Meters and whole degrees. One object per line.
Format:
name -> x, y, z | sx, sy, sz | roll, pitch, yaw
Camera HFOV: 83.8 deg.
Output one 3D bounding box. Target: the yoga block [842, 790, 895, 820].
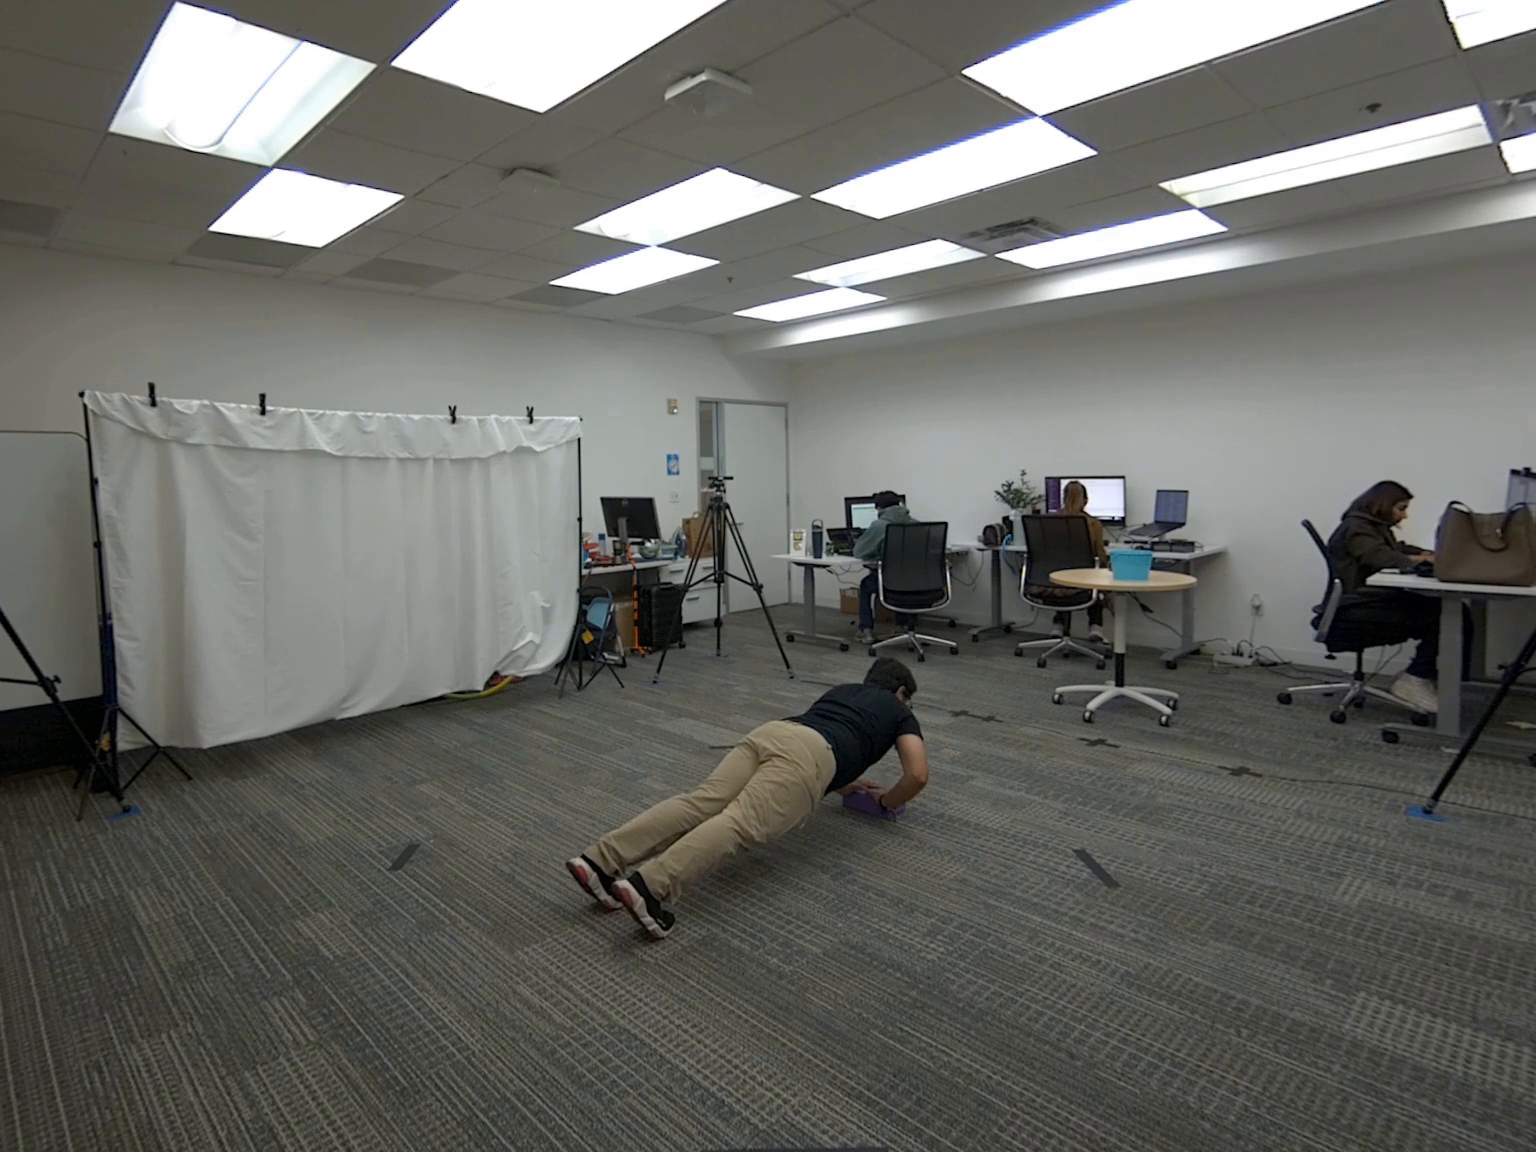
yoga block -> 0.451, 0.937, 3.585 | 0.236, 0.076, 0.145 | 3, 7, 42
